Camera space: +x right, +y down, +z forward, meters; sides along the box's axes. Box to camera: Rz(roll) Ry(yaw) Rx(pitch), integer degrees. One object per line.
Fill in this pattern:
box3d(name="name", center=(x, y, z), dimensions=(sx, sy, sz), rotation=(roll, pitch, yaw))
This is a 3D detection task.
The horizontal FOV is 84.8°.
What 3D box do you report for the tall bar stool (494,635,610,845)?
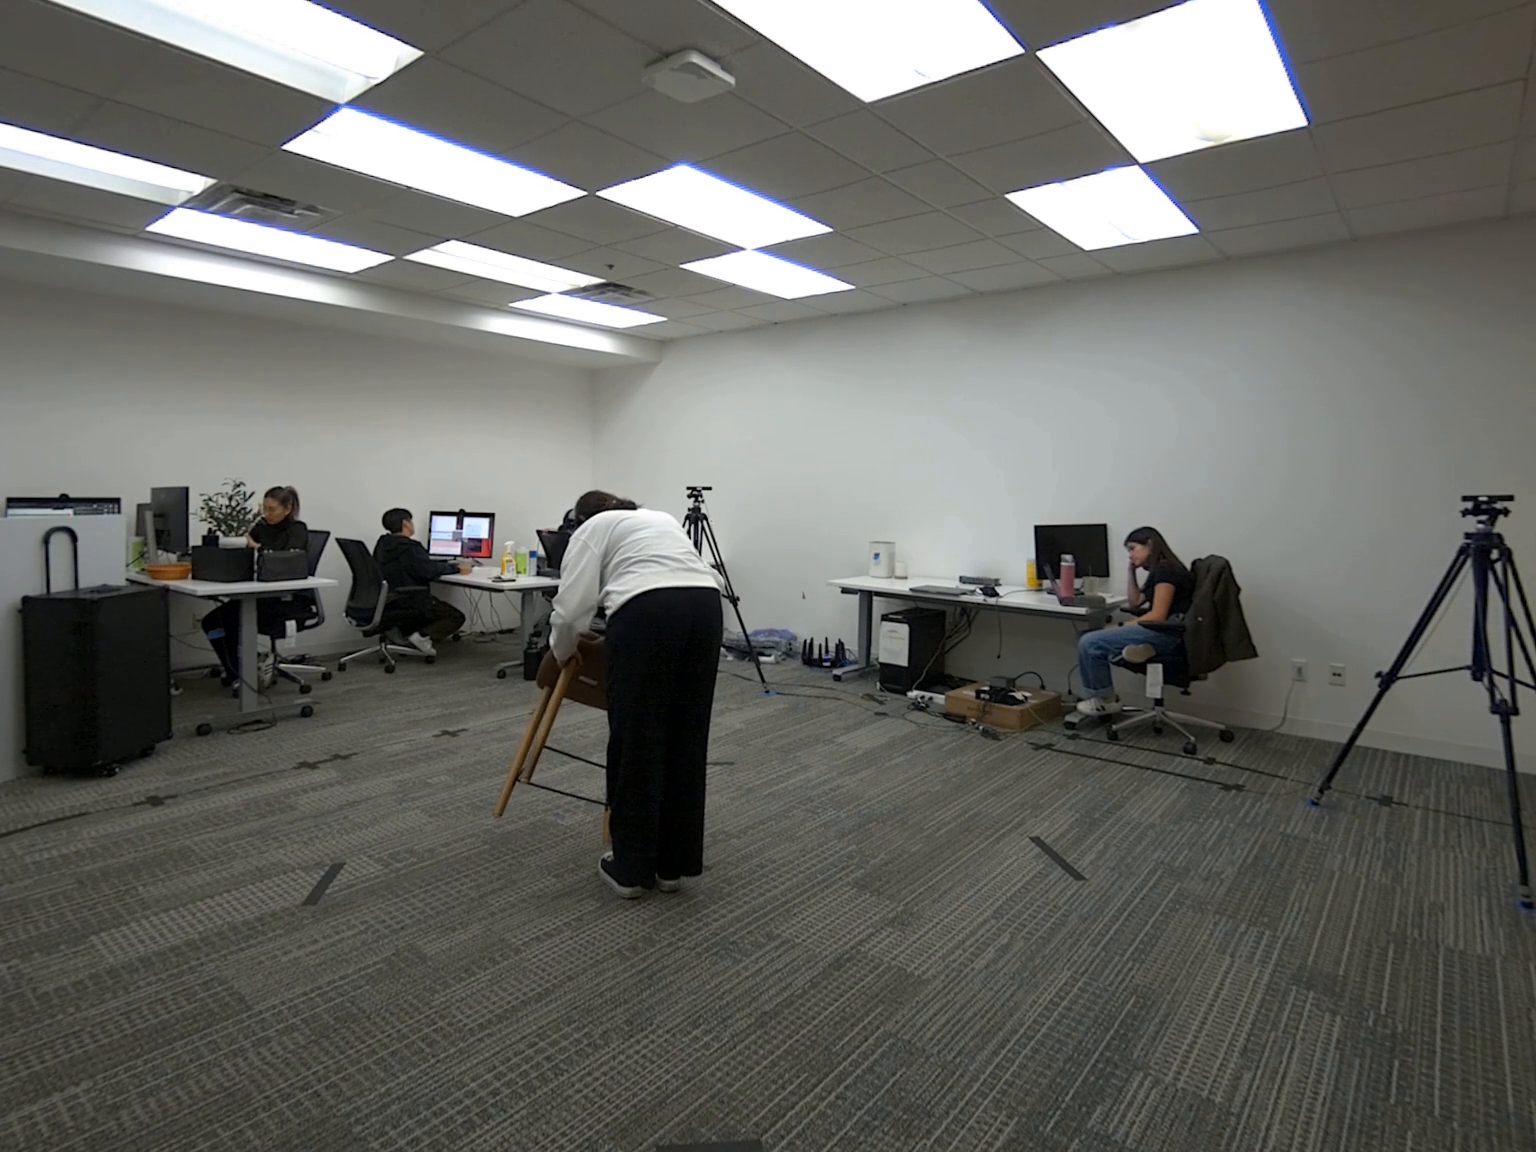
box3d(name="tall bar stool", center=(-0.673, 0.496, 3.277), dimensions=(0.458, 0.910, 0.456), rotation=(22, -40, -17))
